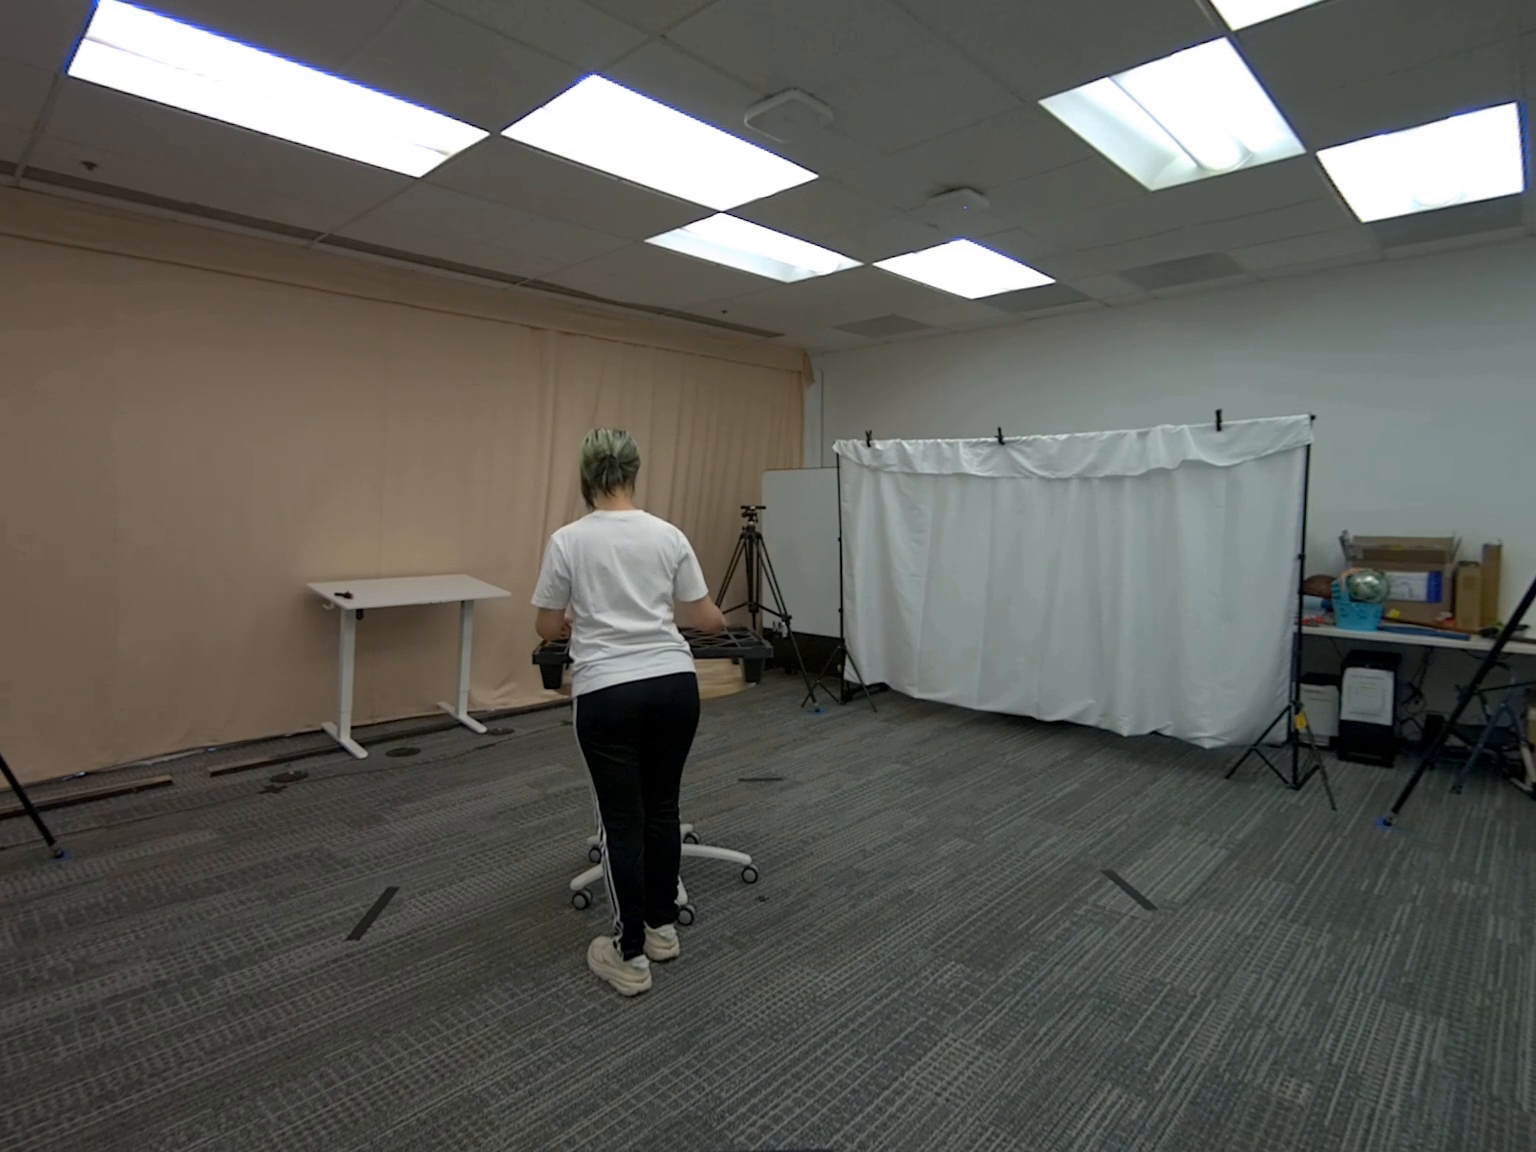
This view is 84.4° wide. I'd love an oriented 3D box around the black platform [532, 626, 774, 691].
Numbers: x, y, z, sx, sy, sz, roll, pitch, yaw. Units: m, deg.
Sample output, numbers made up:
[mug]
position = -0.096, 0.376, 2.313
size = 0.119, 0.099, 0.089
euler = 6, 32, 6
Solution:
[black platform]
position = -0.424, 0.289, 3.075
size = 0.800, 0.143, 0.610
euler = 0, 4, -7
